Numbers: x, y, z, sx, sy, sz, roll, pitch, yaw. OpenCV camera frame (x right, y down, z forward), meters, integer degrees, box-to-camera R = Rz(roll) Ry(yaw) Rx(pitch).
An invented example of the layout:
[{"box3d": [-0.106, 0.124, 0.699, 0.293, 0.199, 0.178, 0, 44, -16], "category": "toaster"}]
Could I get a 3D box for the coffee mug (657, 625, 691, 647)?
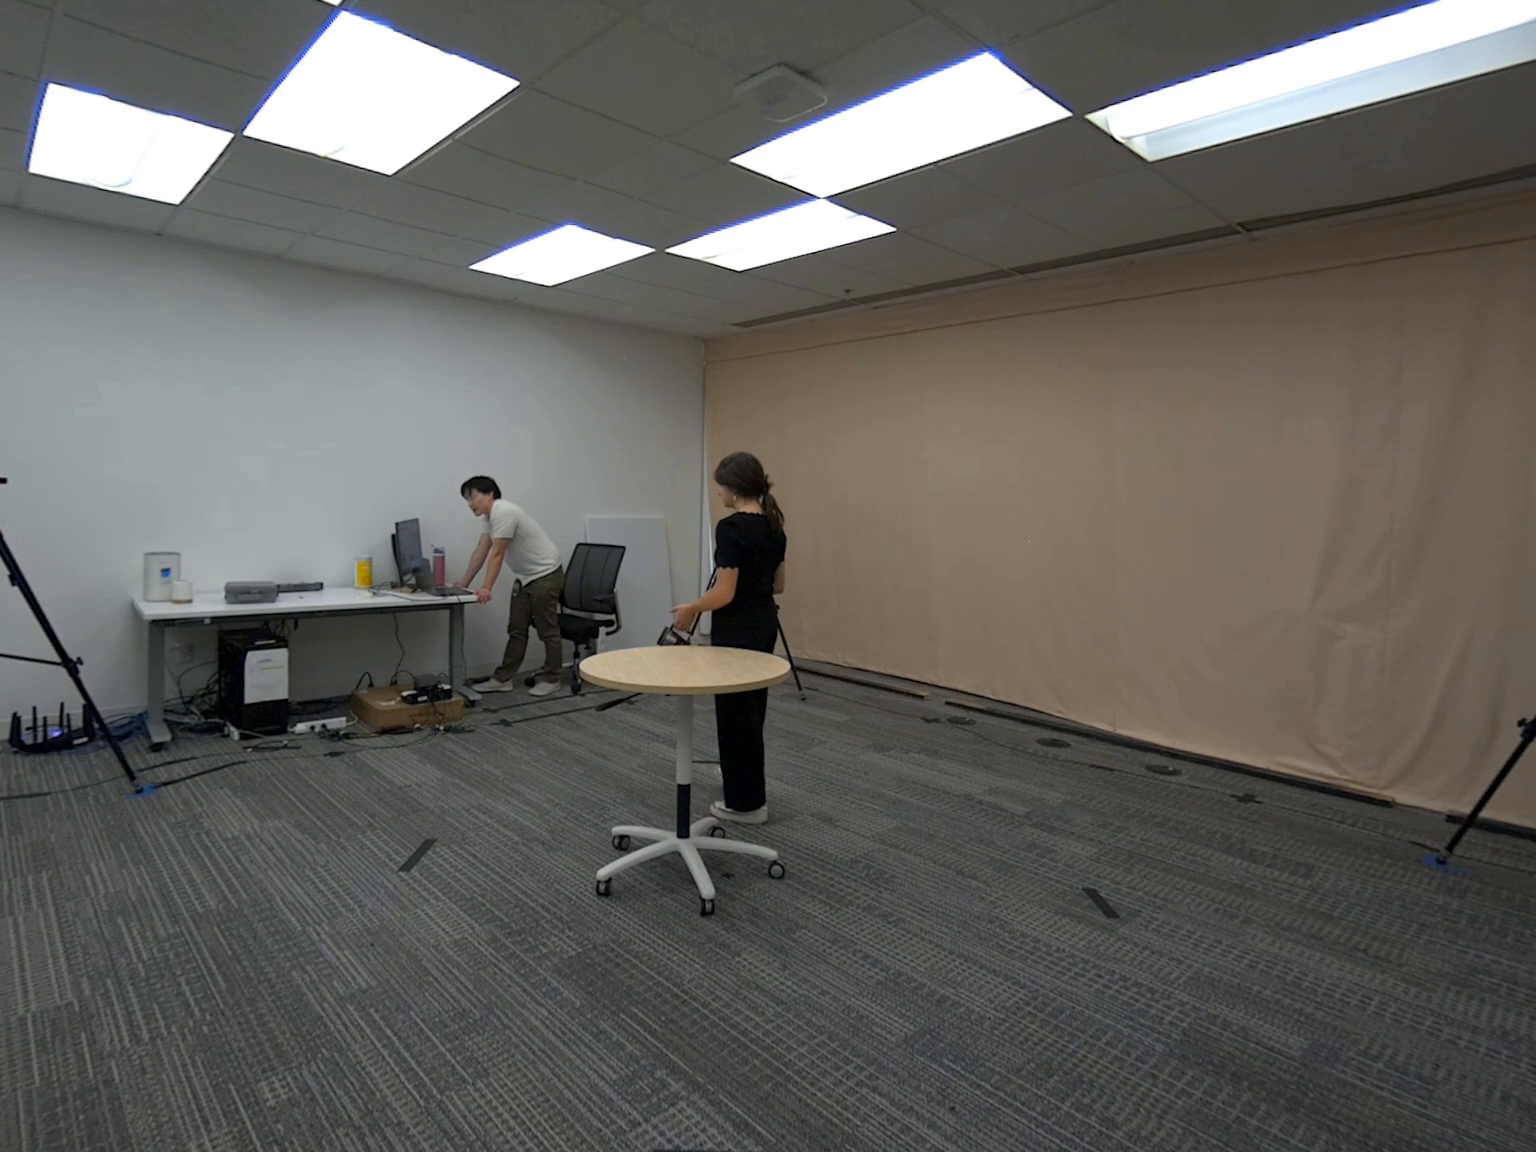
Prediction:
[{"box3d": [-0.371, 0.273, 3.629, 0.202, 0.122, 0.088, 30, -13, -3], "category": "coffee mug"}]
